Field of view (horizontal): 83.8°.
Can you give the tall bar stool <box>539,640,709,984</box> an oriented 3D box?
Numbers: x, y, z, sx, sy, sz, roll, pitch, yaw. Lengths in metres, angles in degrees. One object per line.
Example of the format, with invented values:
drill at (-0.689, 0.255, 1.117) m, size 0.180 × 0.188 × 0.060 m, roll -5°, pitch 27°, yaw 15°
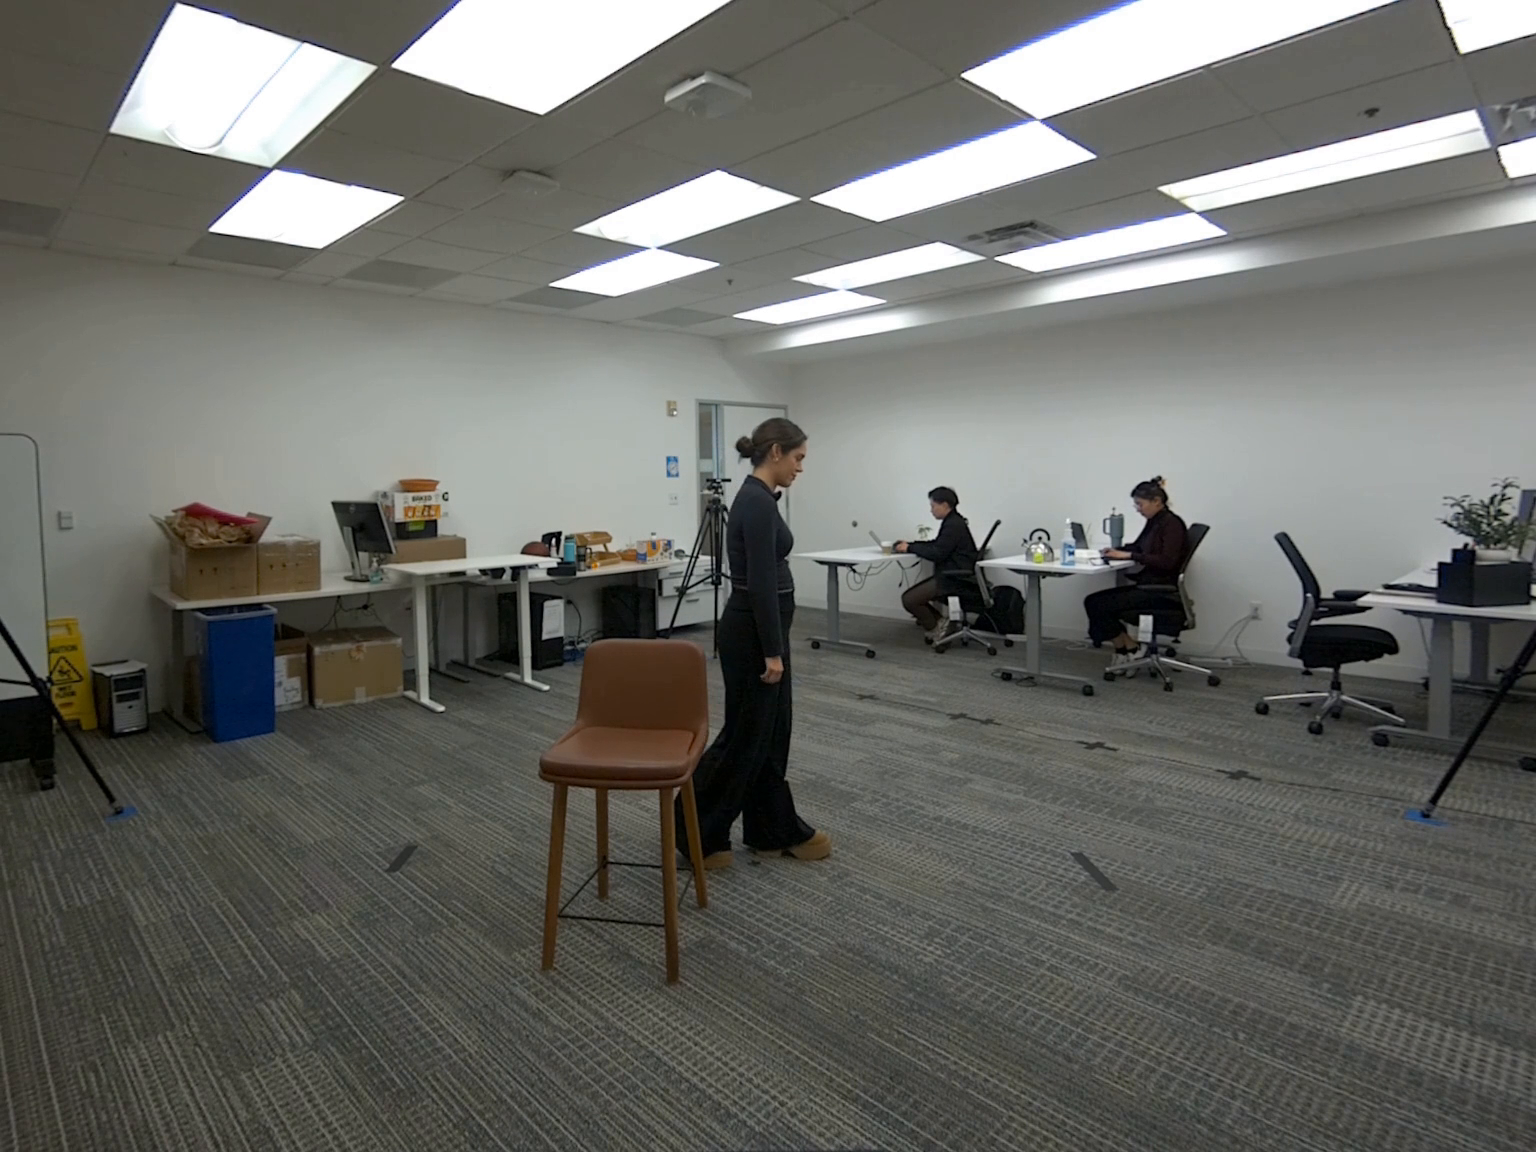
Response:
tall bar stool at (-0.420, 0.675, 2.605) m, size 0.462 × 0.888 × 0.463 m, roll 0°, pitch 3°, yaw 11°
